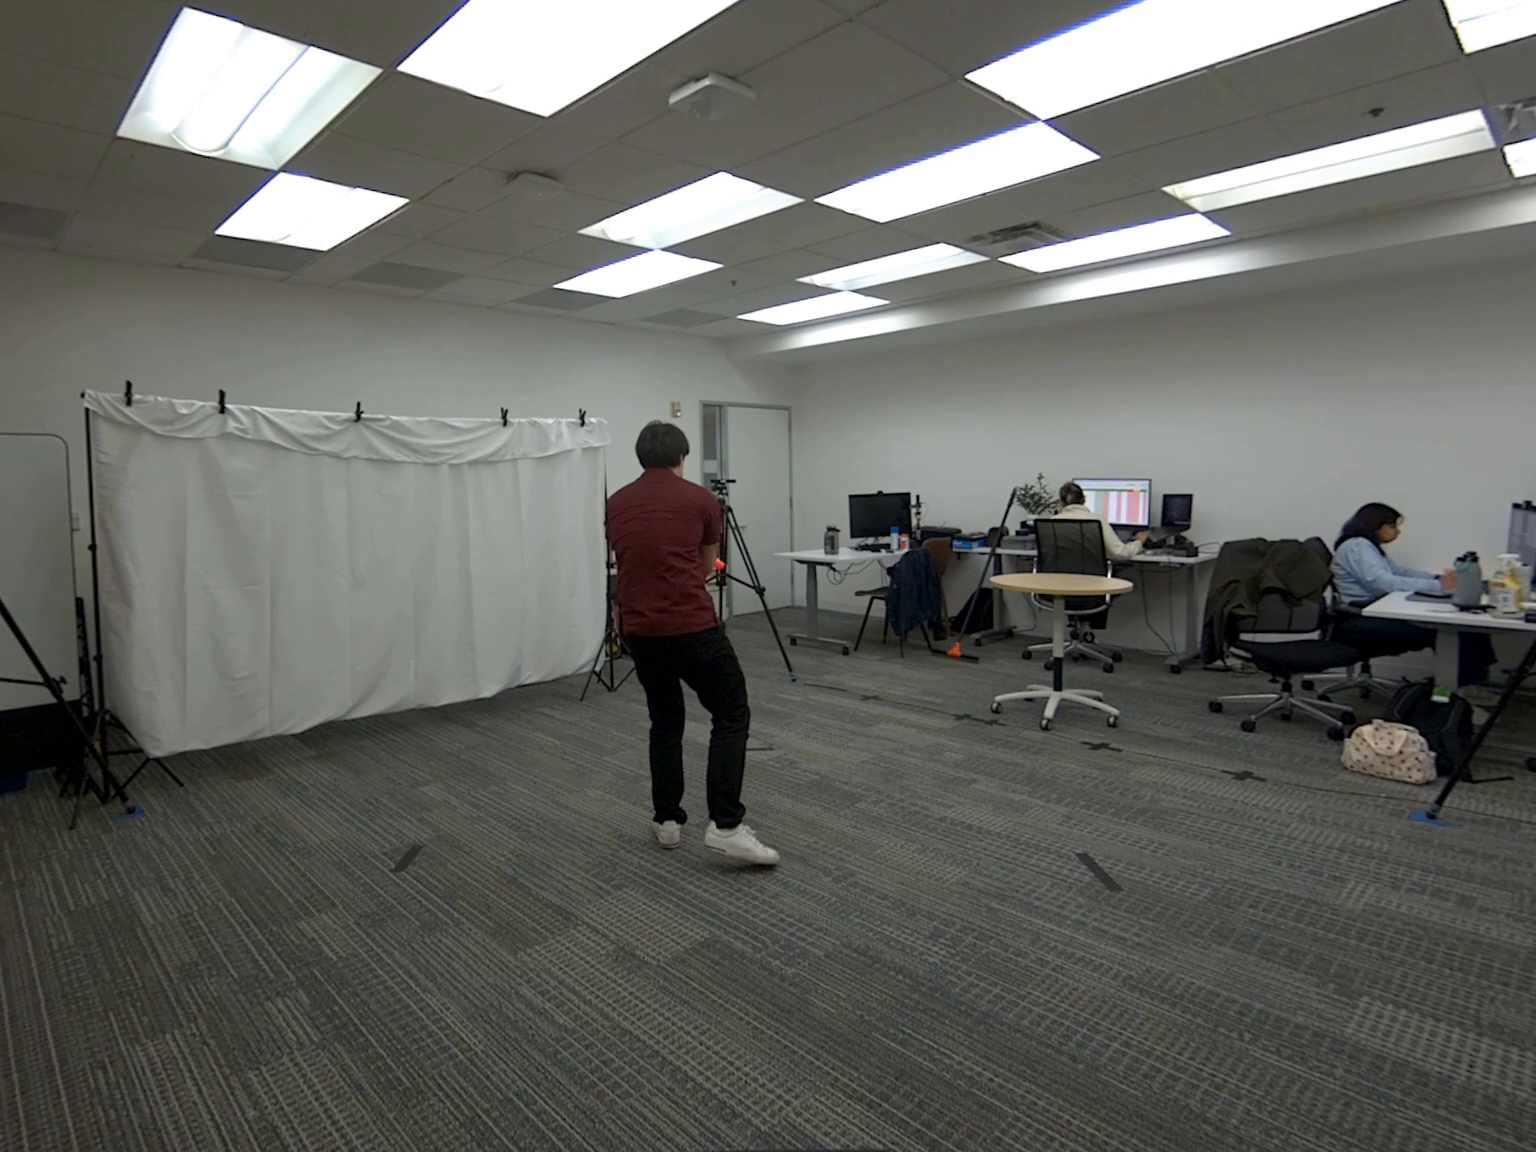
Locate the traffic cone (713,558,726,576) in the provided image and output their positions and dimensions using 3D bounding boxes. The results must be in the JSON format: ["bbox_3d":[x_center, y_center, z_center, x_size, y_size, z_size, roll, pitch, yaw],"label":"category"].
[{"bbox_3d":[-0.351,-0.104,3.790,0.374,0.208,0.206,26,-41,-22],"label":"traffic cone"}]
